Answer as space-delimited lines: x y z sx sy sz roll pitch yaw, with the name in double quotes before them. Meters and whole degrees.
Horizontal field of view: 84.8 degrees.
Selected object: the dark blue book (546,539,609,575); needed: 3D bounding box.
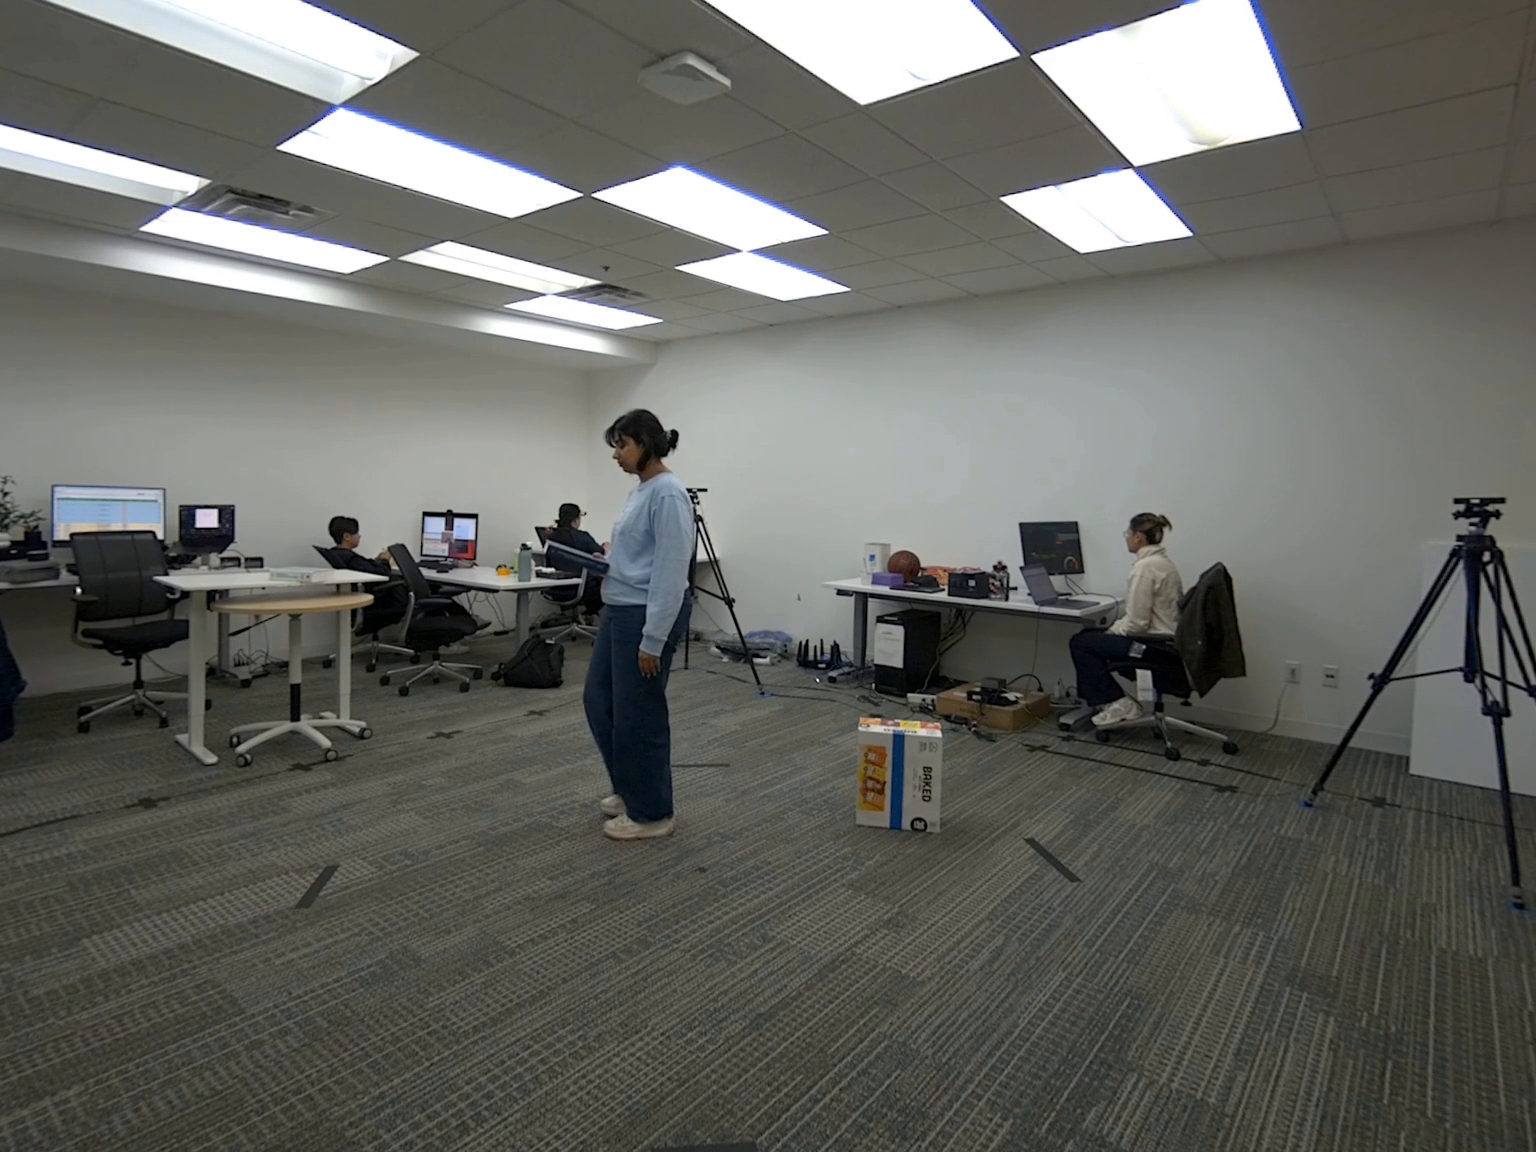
"dark blue book" -0.764 -0.079 3.328 0.240 0.045 0.167 18 2 -16
